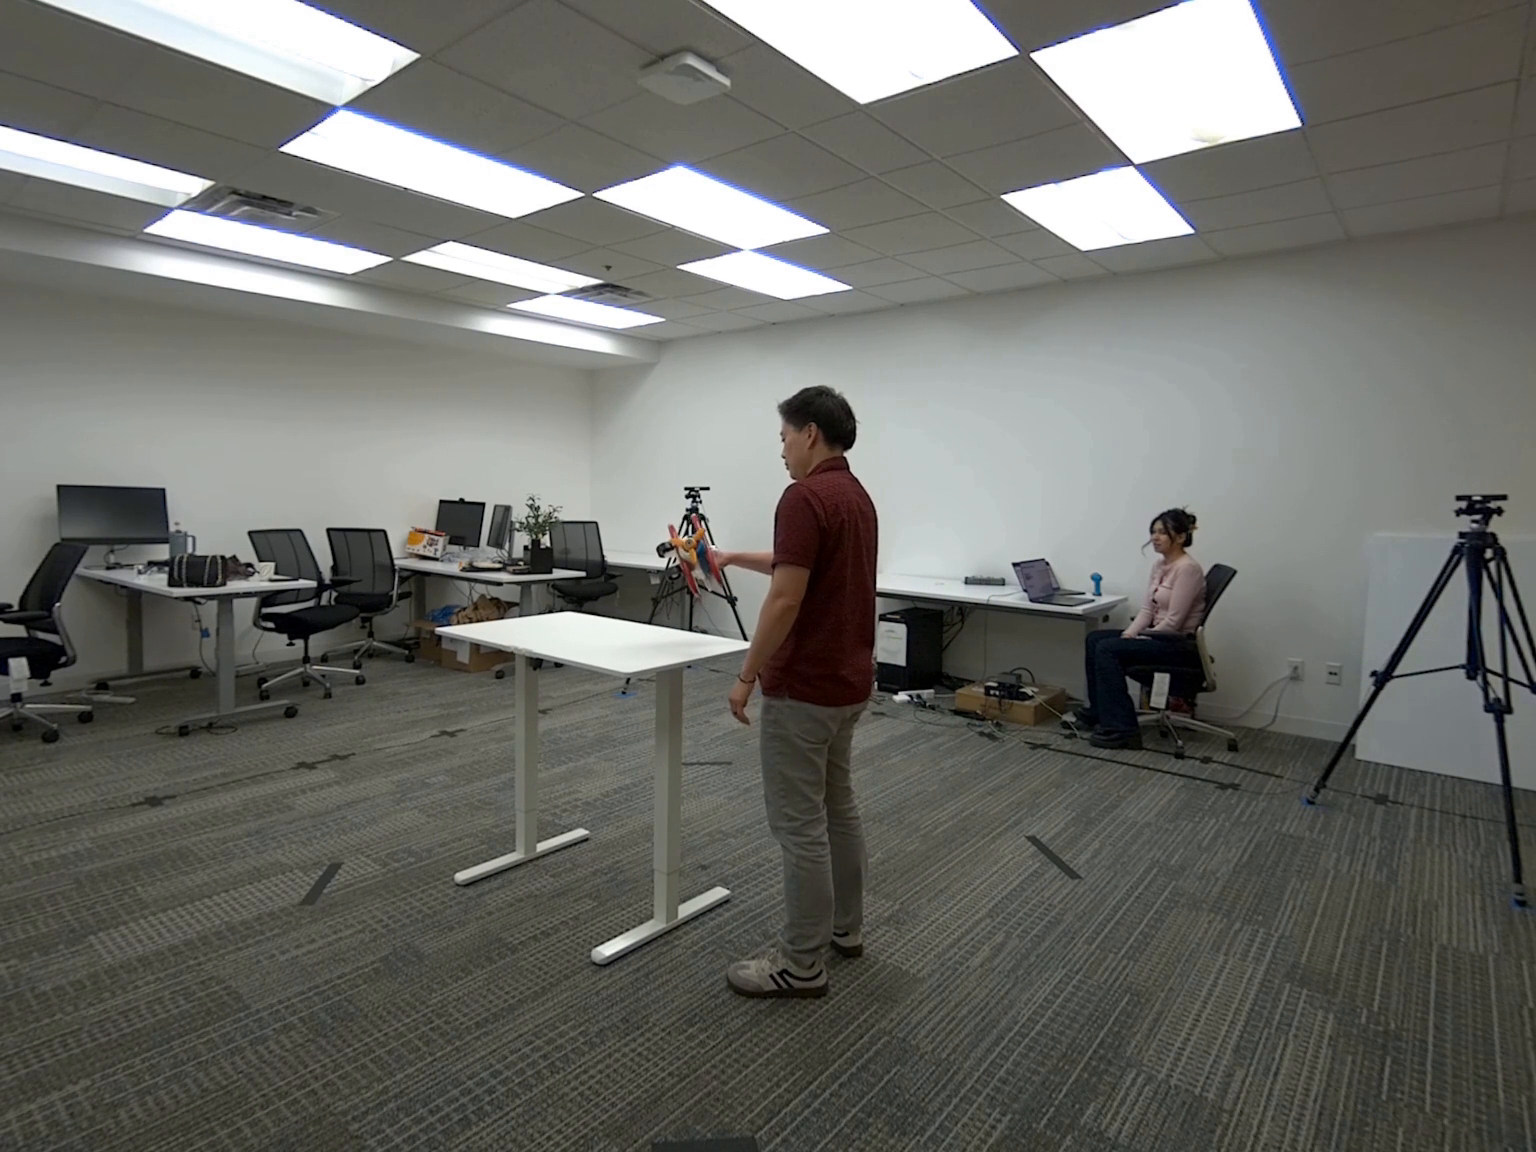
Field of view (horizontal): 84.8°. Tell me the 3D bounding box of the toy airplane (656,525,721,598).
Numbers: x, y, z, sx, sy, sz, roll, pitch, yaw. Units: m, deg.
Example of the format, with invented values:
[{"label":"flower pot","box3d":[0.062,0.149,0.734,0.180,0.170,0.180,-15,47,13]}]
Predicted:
[{"label":"toy airplane","box3d":[-0.243,-0.065,2.675,0.157,0.251,0.258,-29,1,12]}]
